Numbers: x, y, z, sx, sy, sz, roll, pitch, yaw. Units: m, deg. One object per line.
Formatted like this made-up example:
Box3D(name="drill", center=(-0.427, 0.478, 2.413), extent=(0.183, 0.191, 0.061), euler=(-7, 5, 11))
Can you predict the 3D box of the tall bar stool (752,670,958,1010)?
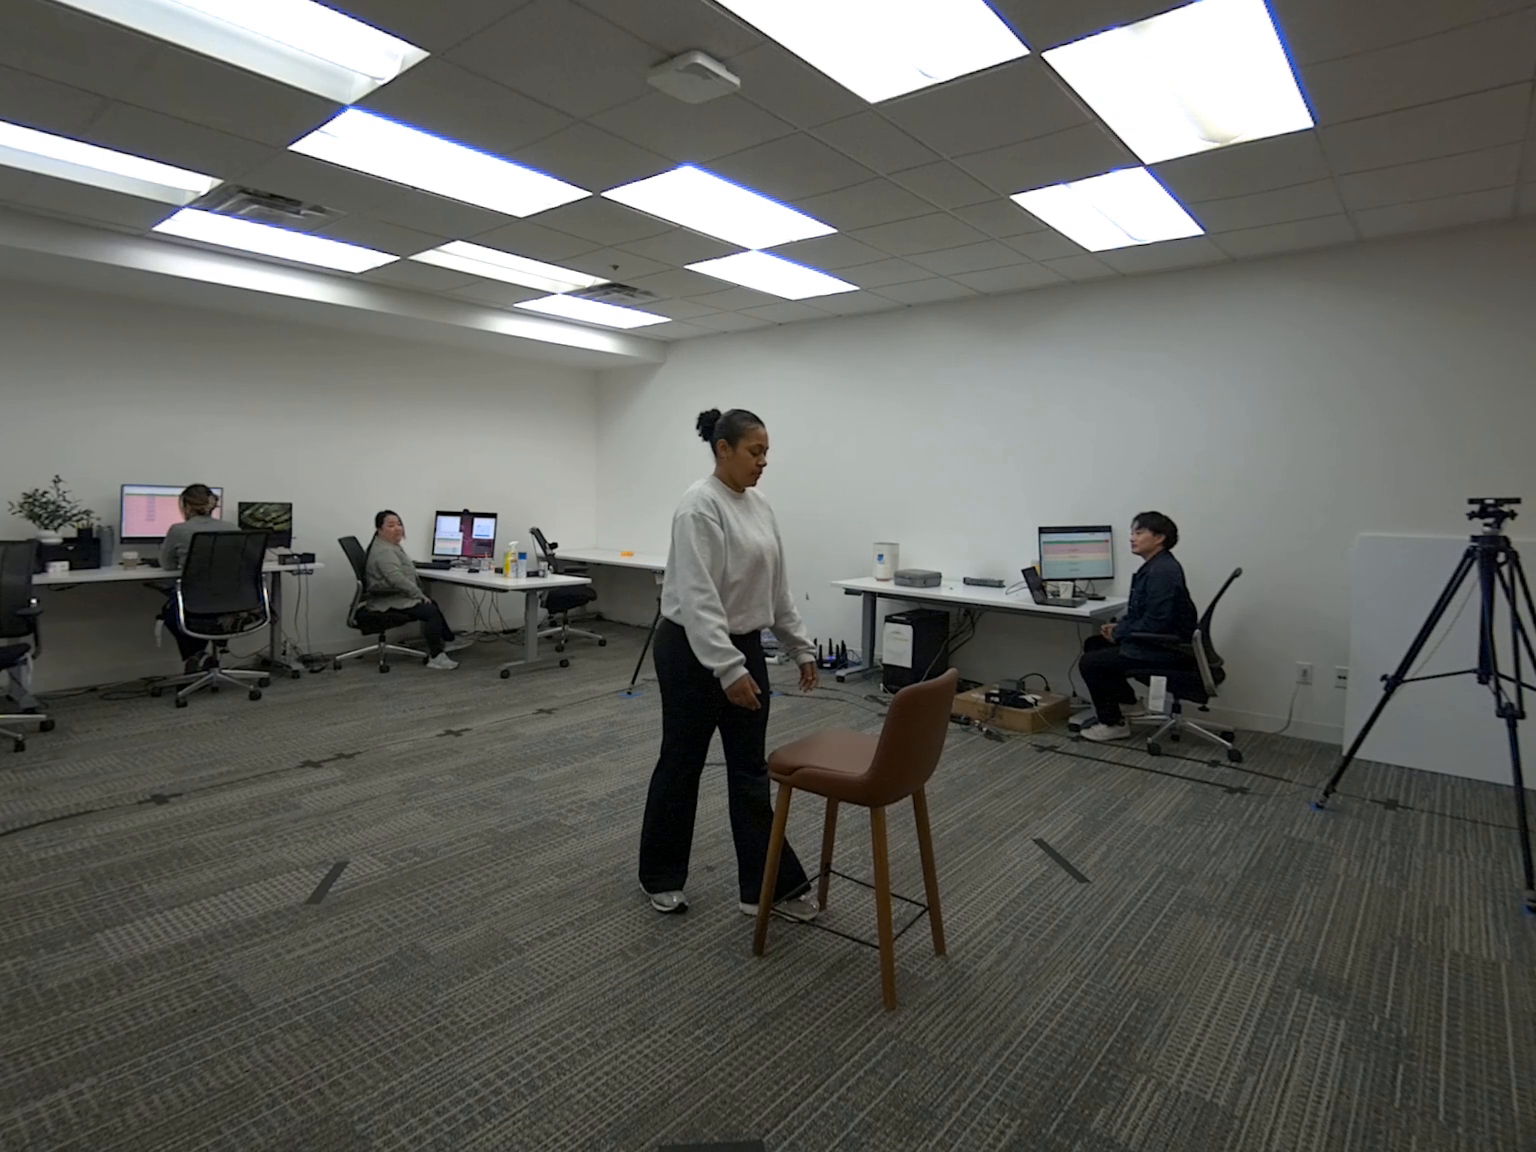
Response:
Box3D(name="tall bar stool", center=(0.264, 0.695, 2.536), extent=(0.483, 0.886, 0.443), euler=(7, 5, 35))
